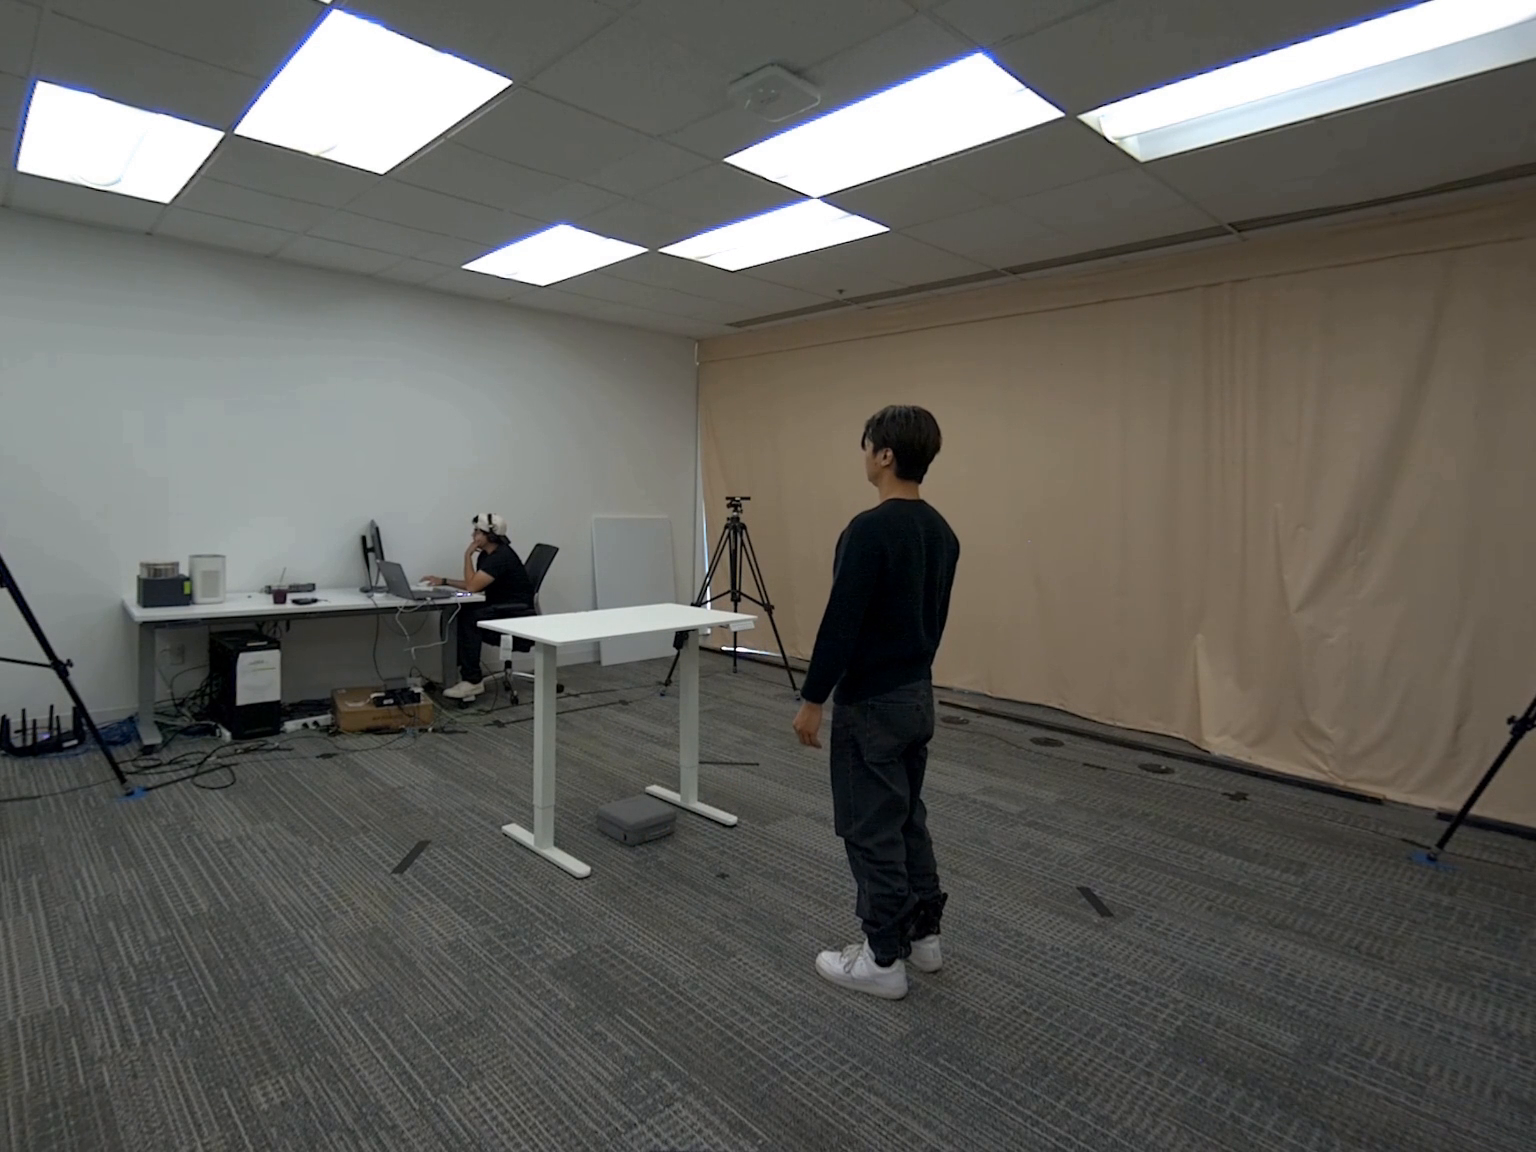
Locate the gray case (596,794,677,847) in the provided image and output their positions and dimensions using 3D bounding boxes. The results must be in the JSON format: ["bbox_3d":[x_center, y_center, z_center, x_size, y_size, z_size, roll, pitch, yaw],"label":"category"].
[{"bbox_3d":[-0.551,1.001,3.496,0.255,0.104,0.263,-3,7,-45],"label":"gray case"}]
